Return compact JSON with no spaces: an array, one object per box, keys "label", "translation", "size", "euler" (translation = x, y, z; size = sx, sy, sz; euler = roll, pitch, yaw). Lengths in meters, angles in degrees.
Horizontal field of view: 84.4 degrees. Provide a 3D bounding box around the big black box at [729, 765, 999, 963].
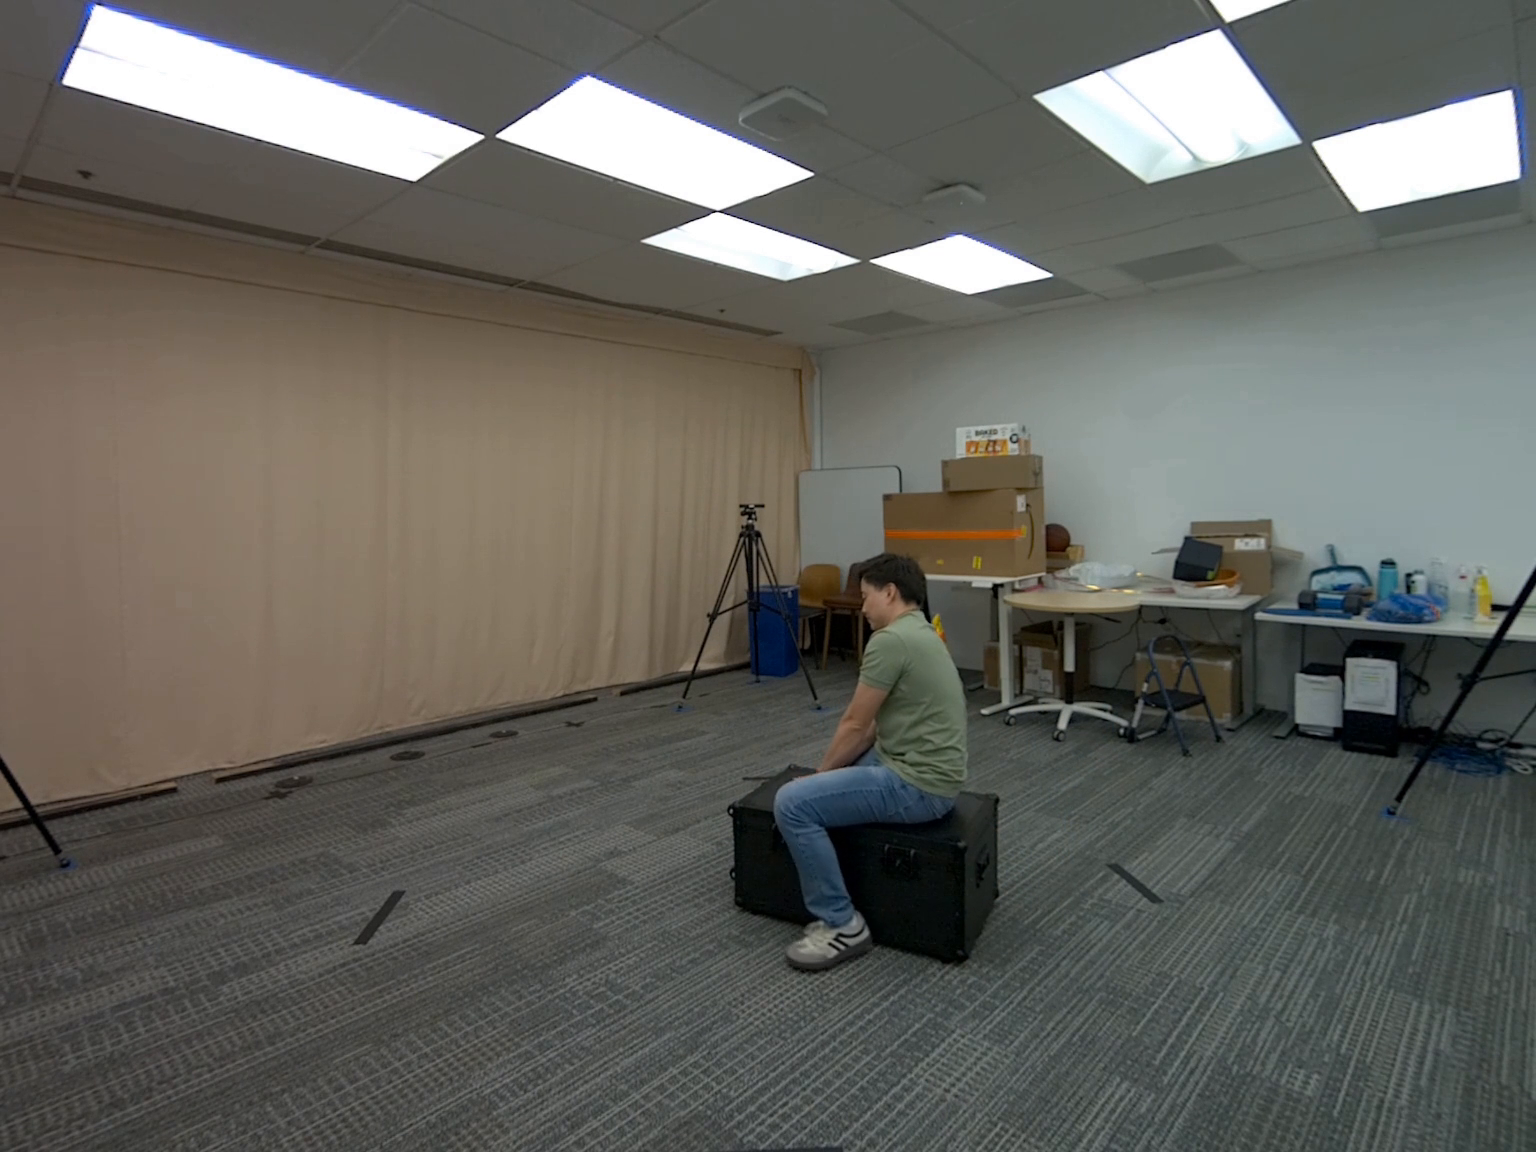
[{"label":"big black box","translation":[0.313,0.953,2.903],"size":[0.885,0.395,0.509],"euler":[3,6,27]}]
